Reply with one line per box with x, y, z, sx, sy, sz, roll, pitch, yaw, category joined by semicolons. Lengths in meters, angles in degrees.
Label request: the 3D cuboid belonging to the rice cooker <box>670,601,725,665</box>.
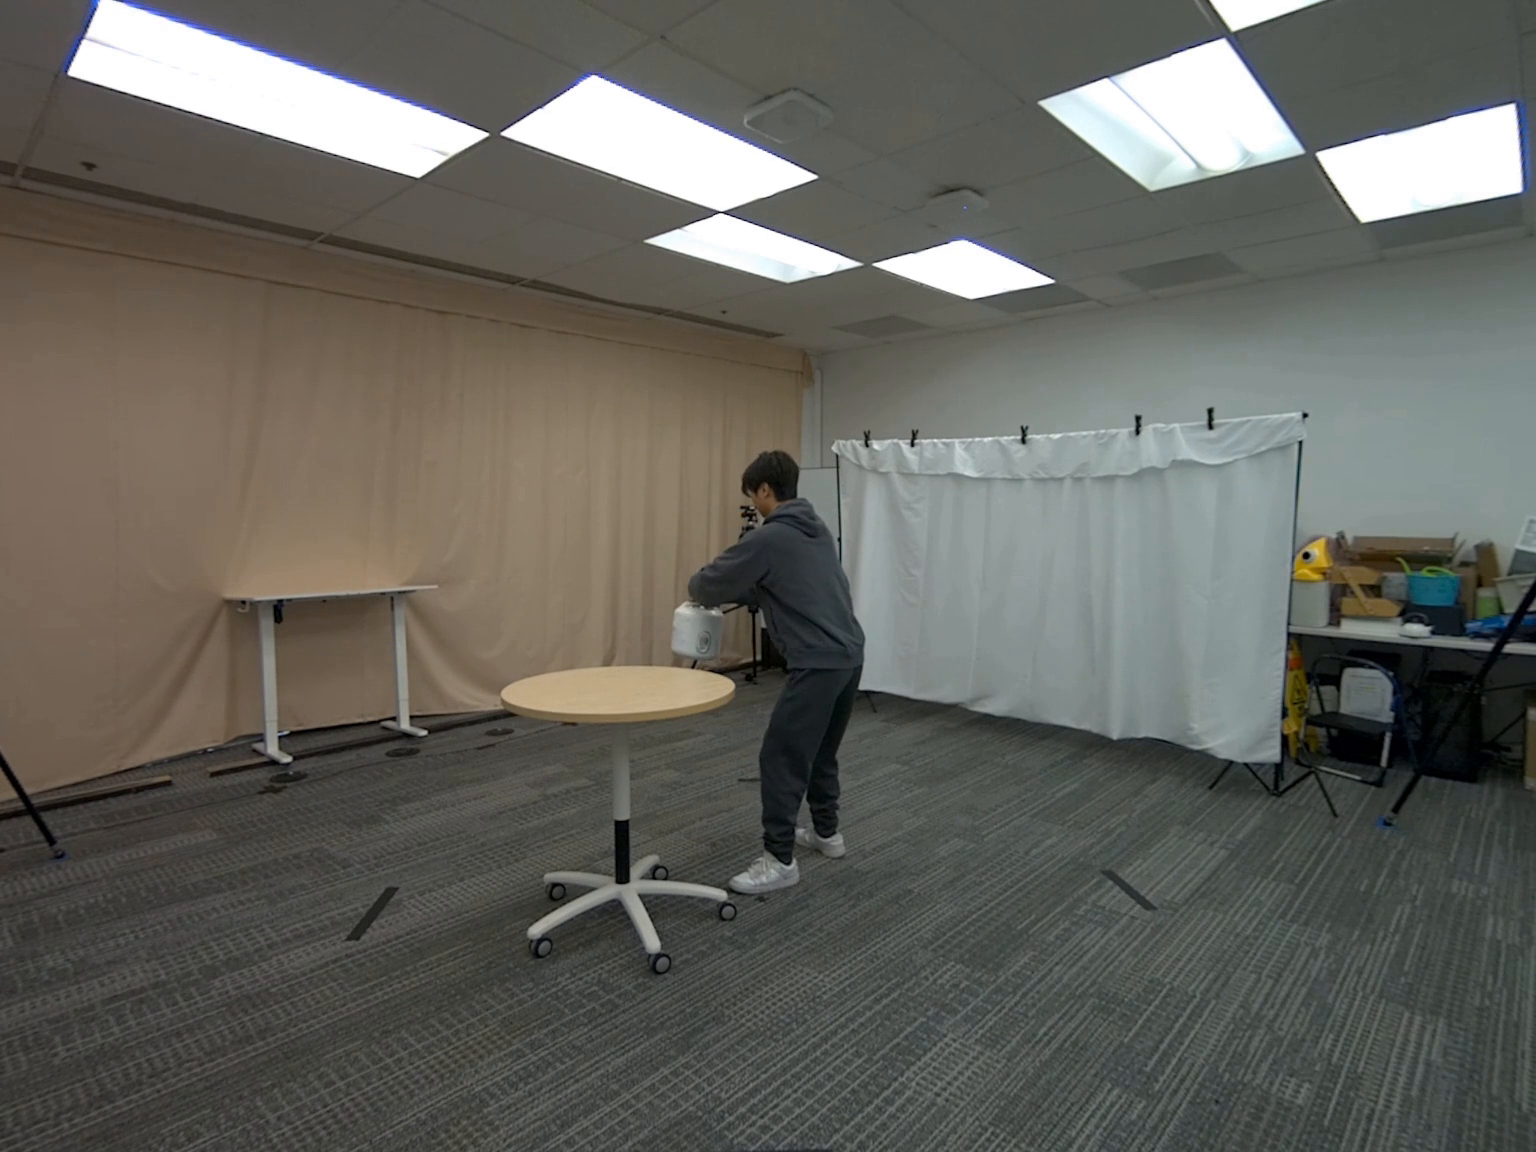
-0.287;0.223;3.474;0.217;0.232;0.221;4;3;-15;rice cooker
